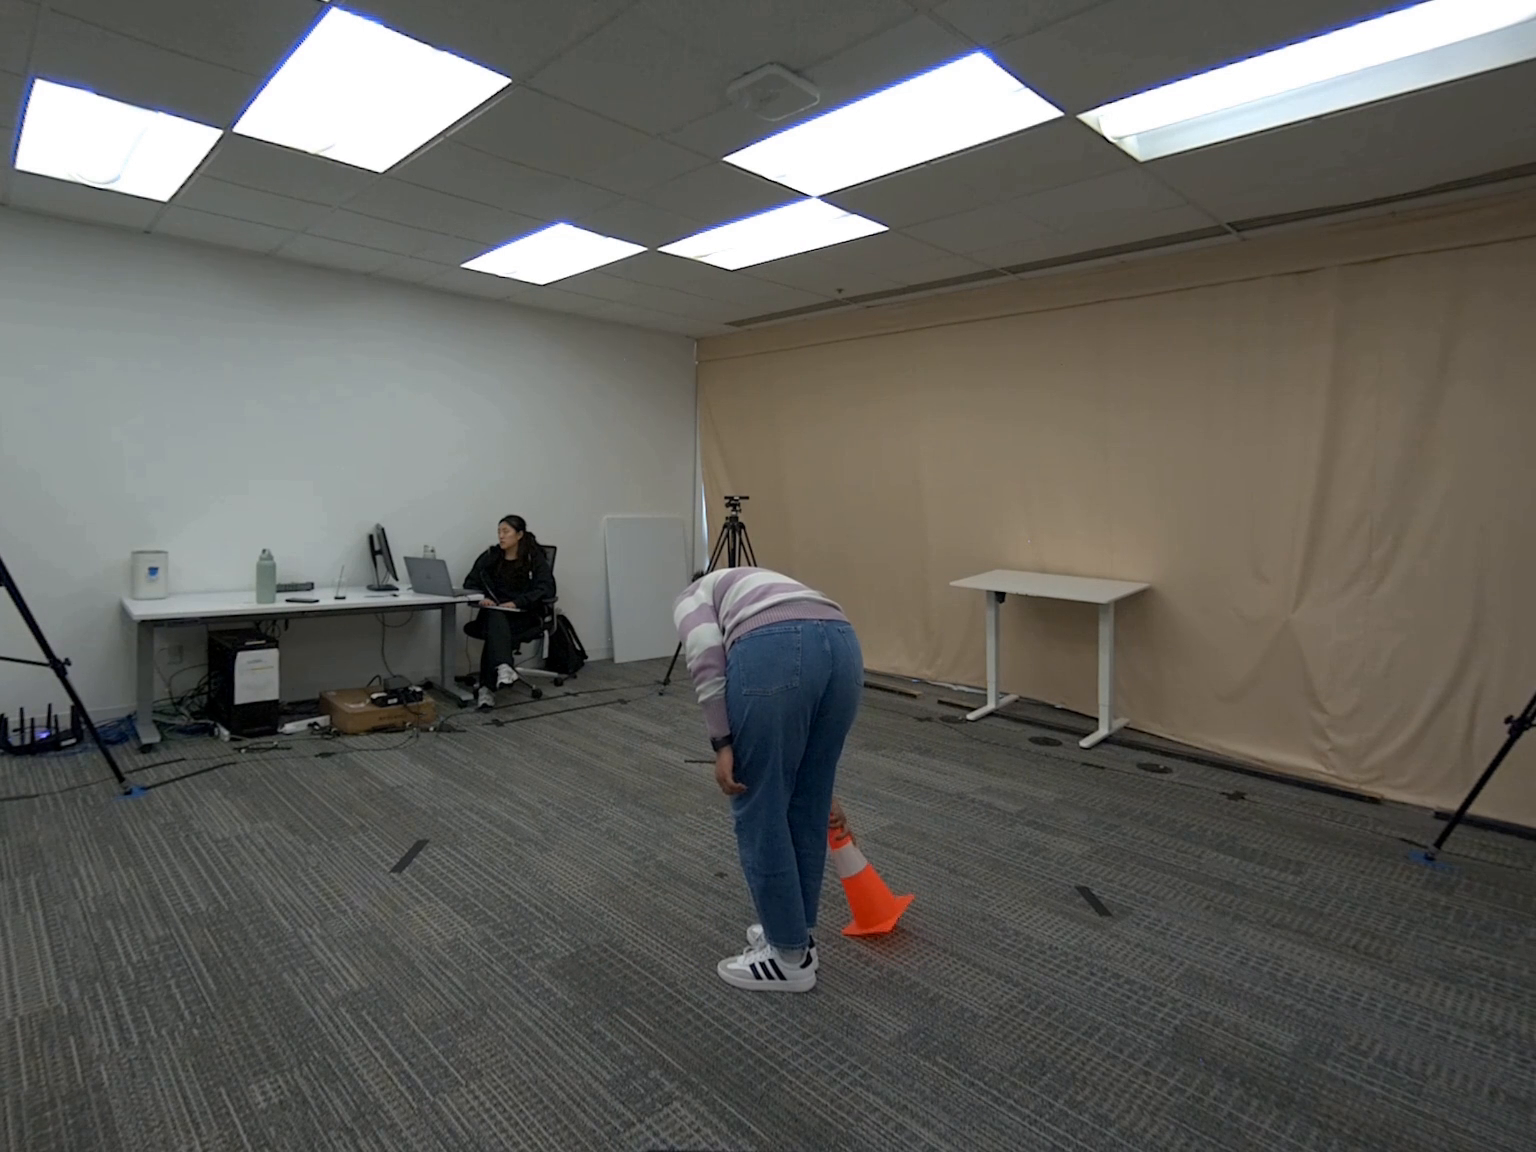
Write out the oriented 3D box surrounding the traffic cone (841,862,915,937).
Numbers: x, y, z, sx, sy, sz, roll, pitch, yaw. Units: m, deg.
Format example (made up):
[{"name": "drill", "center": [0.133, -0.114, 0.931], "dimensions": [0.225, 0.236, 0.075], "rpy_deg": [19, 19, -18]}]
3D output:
[{"name": "traffic cone", "center": [0.268, 0.934, 2.735], "dimensions": [0.207, 0.384, 0.201], "rpy_deg": [-29, -2, 40]}]
